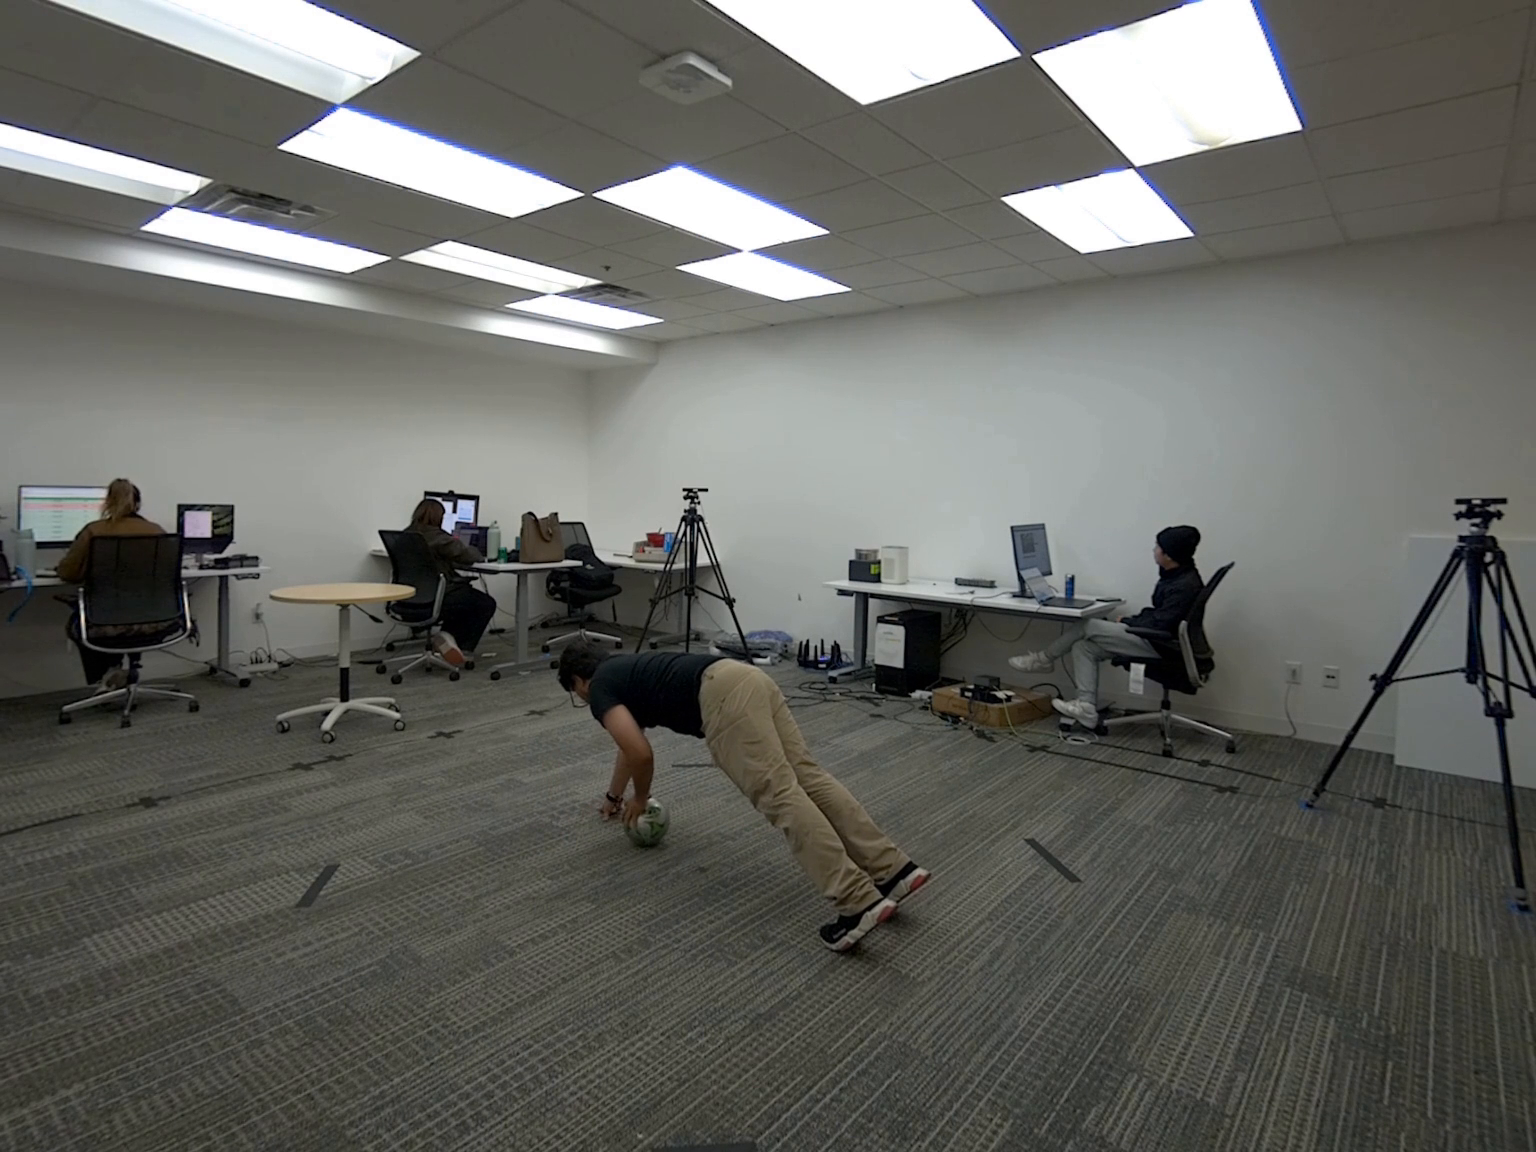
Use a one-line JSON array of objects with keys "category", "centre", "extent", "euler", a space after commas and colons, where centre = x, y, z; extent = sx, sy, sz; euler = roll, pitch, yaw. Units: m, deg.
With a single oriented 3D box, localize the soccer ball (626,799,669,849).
[{"category": "soccer ball", "centre": [-0.495, 0.952, 3.326], "extent": [0.187, 0.187, 0.188], "euler": [1, 4, -2]}]
